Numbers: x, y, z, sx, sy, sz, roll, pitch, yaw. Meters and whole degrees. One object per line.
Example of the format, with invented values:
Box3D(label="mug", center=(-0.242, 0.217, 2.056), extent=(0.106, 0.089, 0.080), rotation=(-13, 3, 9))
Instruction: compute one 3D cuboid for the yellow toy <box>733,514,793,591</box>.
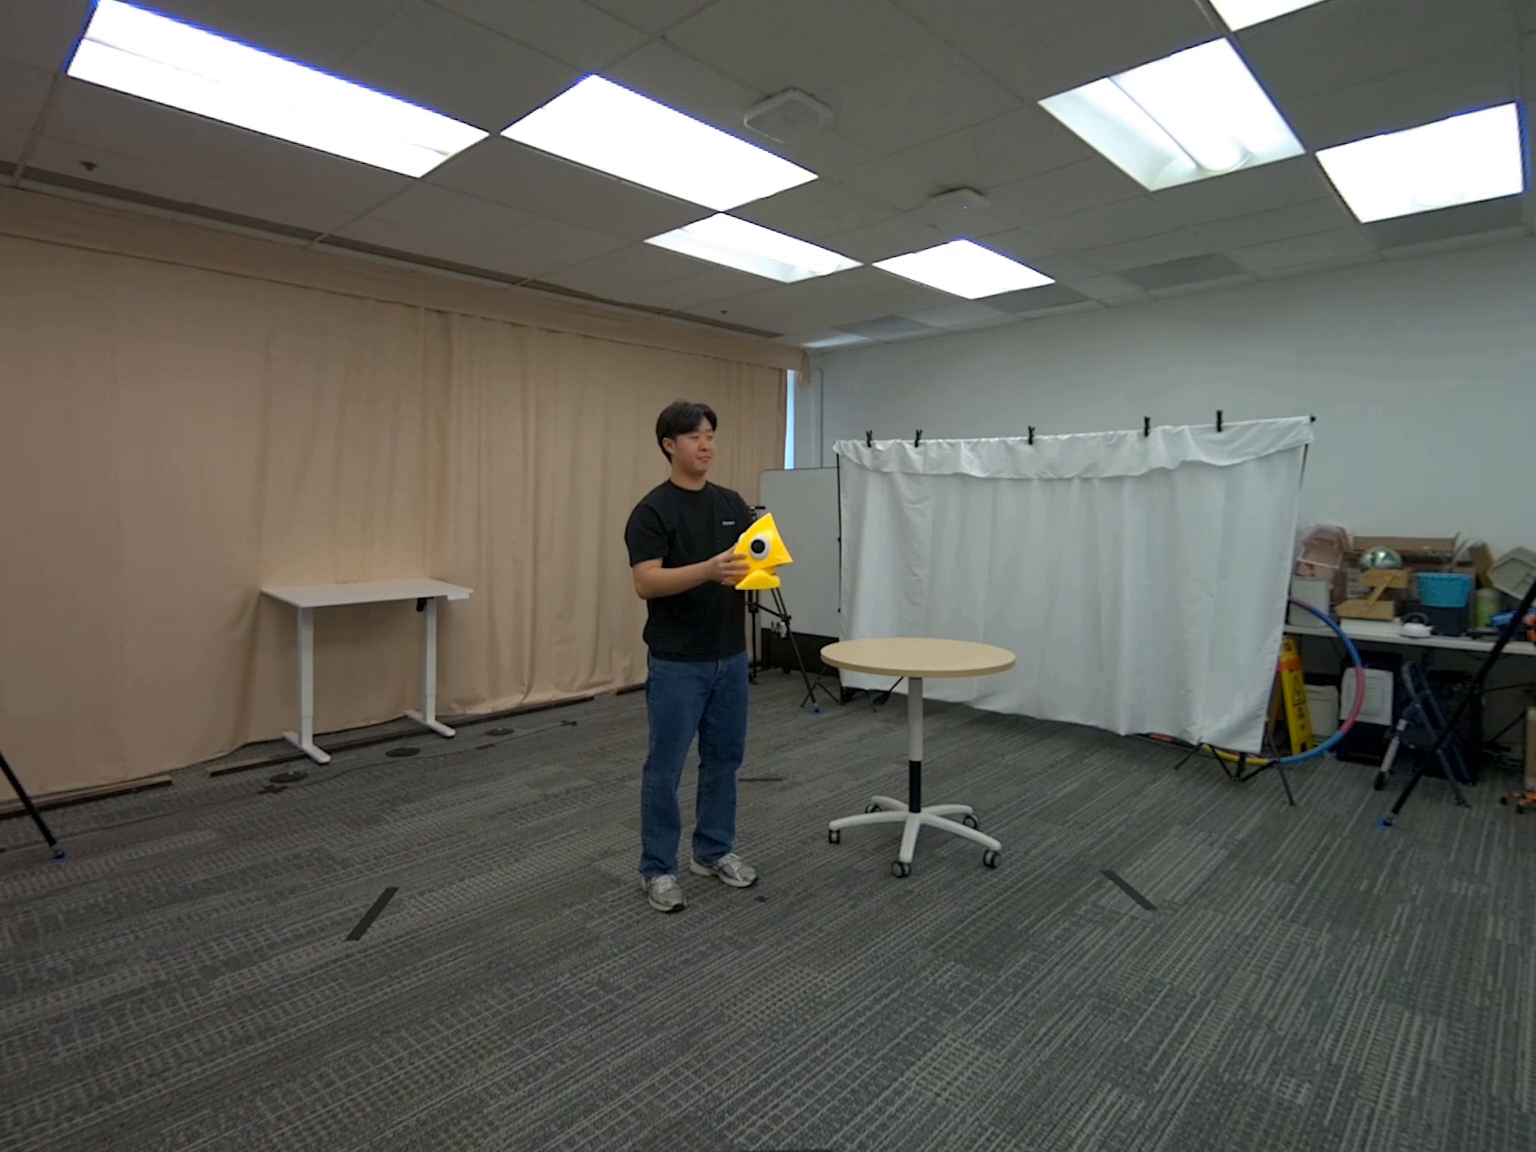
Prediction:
Box3D(label="yellow toy", center=(-0.043, -0.088, 2.734), extent=(0.188, 0.229, 0.210), rotation=(-3, 8, -26))
